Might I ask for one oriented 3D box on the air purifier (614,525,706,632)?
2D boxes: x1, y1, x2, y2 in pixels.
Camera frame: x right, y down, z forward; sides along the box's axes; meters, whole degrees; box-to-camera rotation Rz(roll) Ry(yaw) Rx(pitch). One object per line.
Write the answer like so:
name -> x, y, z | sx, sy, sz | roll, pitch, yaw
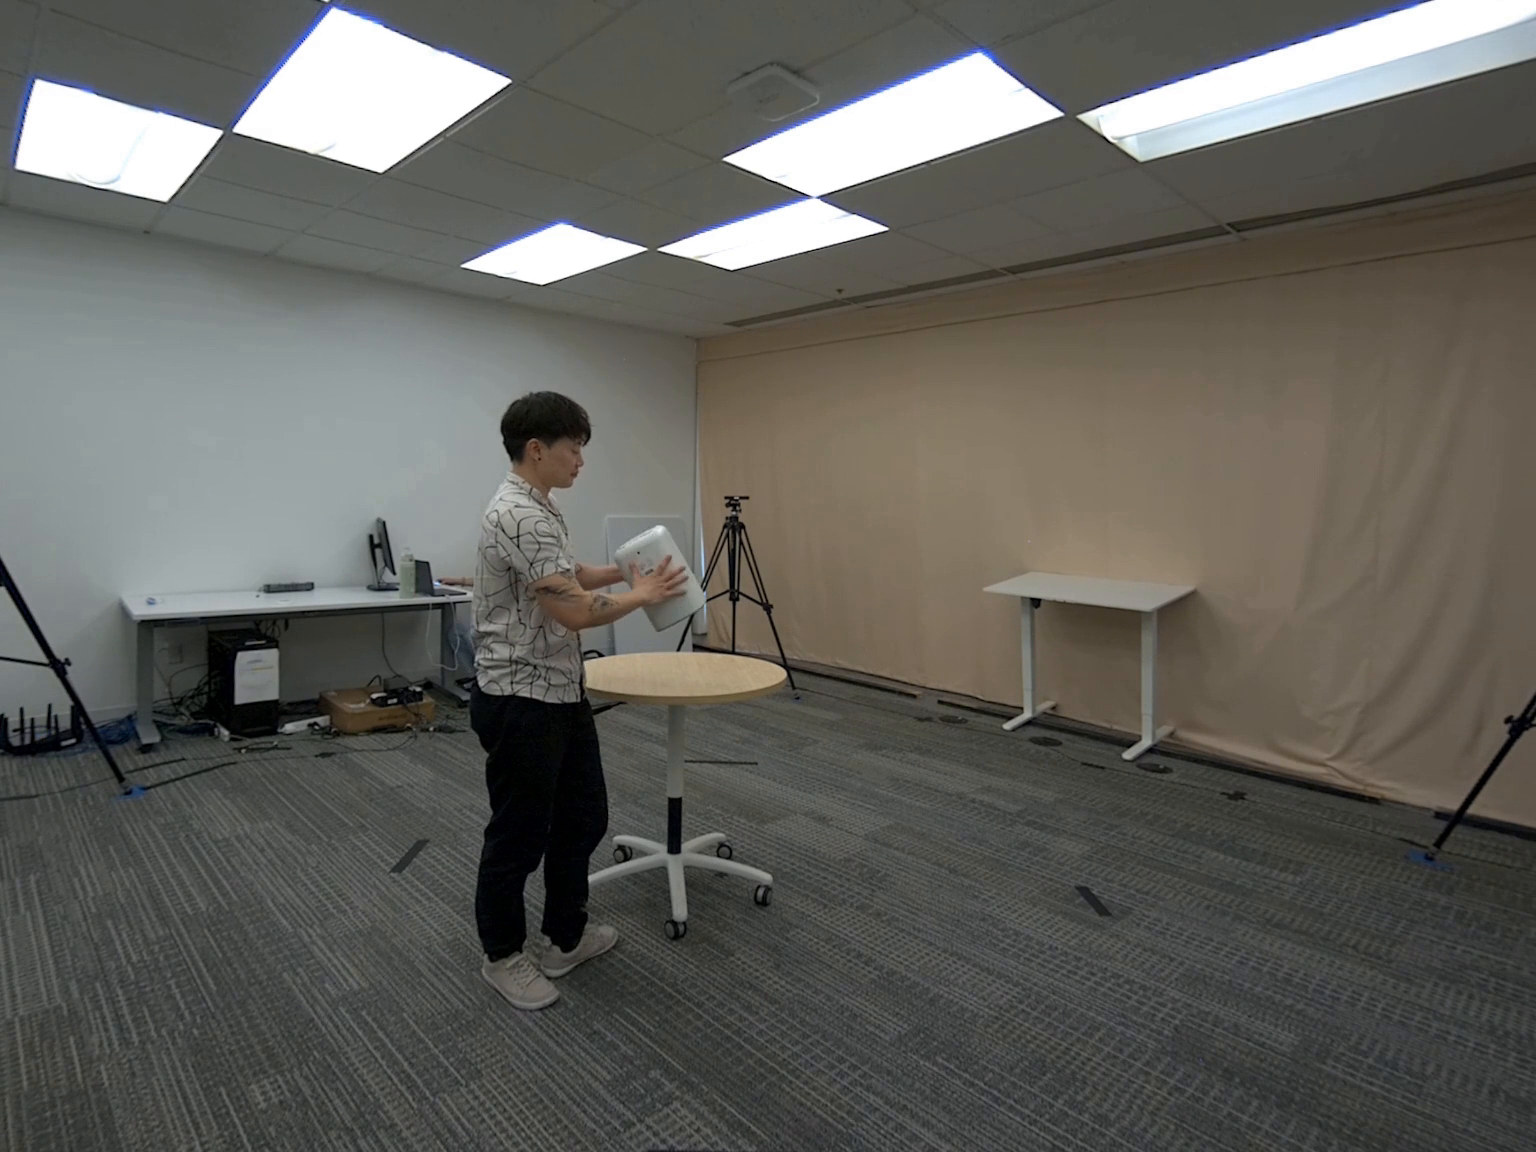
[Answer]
air purifier -> -0.327, 0.000, 2.473 | 0.171, 0.264, 0.172 | -27, 6, 6
